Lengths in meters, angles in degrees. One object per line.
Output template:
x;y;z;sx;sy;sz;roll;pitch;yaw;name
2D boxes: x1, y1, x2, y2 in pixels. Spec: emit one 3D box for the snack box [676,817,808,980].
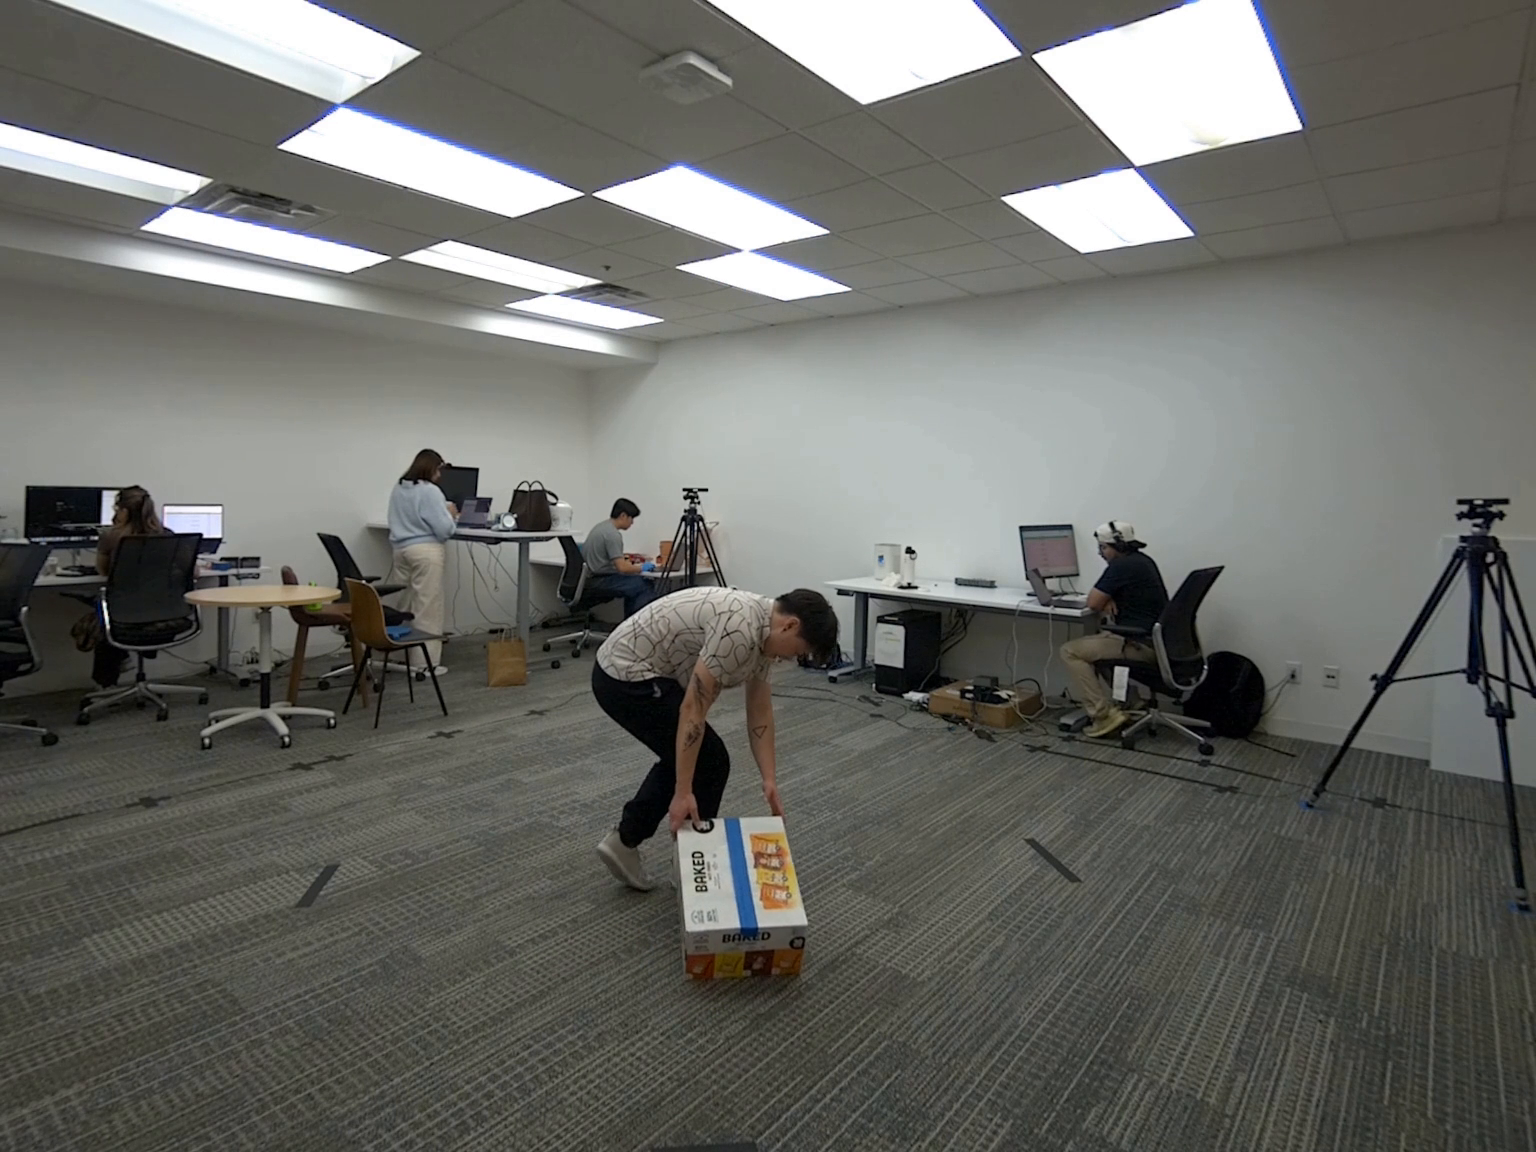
-0.103;0.952;2.550;0.337;0.201;0.418;-1;29;-10;snack box
